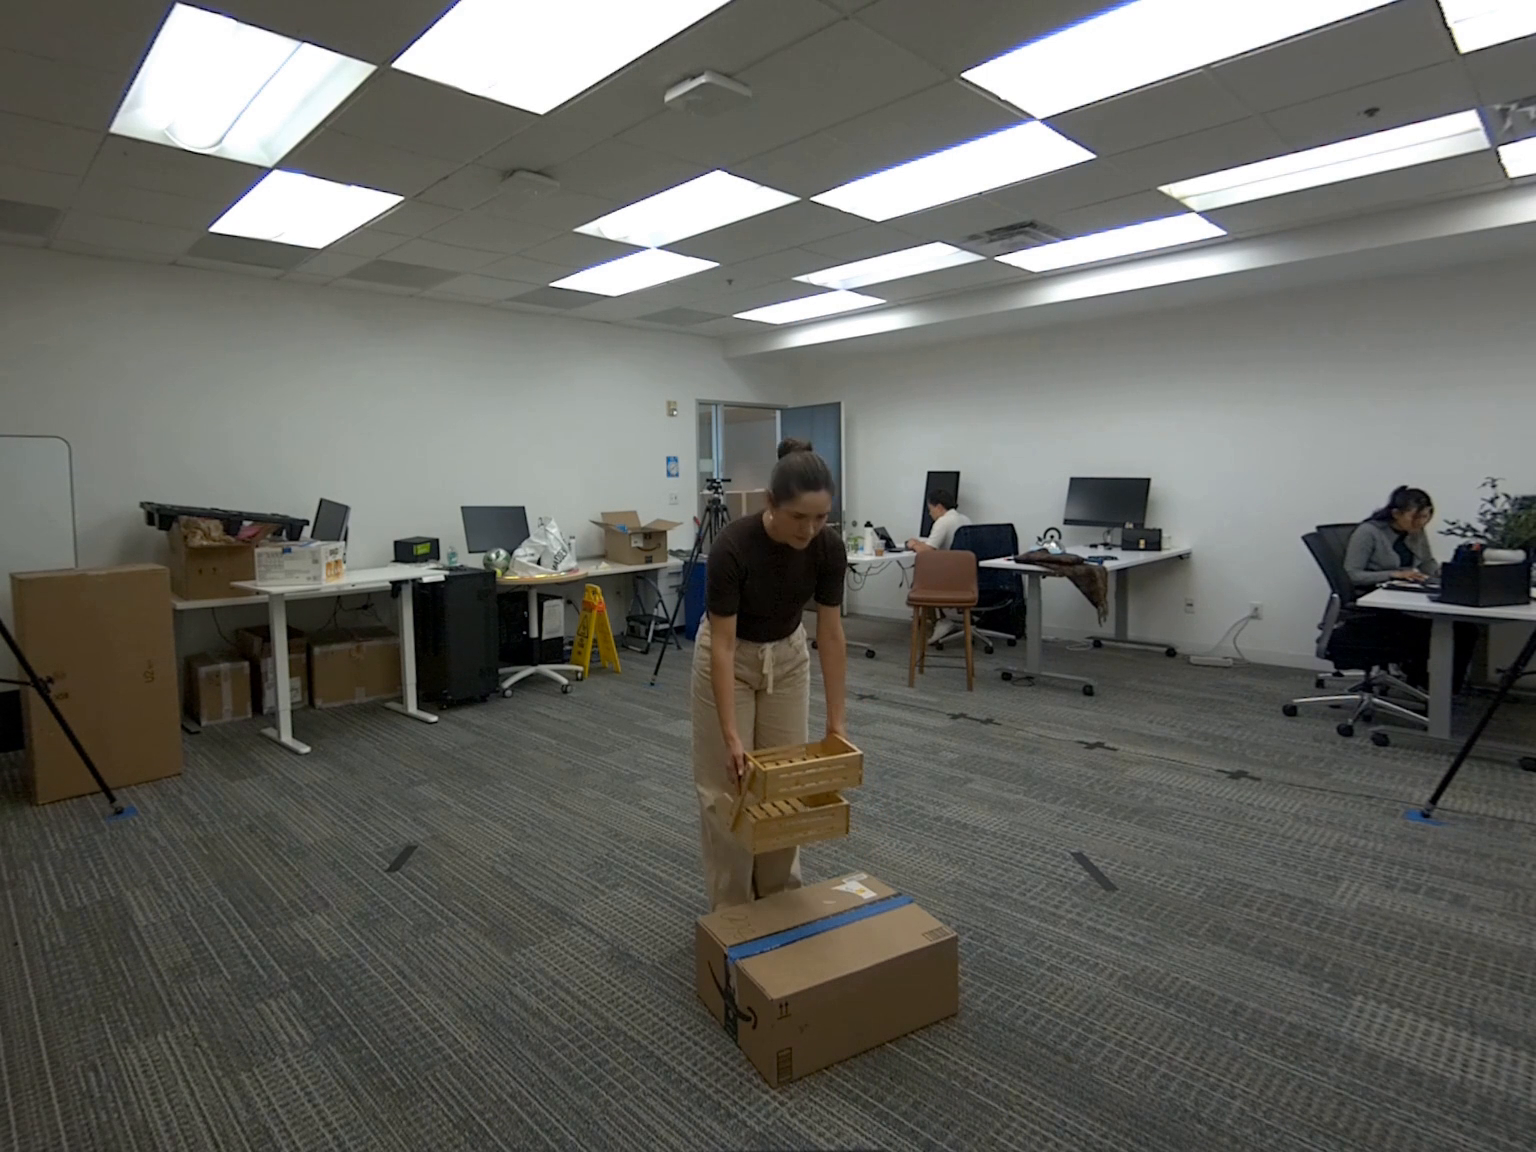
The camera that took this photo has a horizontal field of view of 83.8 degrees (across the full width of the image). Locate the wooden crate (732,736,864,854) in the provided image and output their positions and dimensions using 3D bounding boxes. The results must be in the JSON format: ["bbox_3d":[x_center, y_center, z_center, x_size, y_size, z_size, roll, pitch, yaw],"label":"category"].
[{"bbox_3d":[0.057,0.586,2.377,0.318,0.271,0.311,-4,11,-25],"label":"wooden crate"}]
